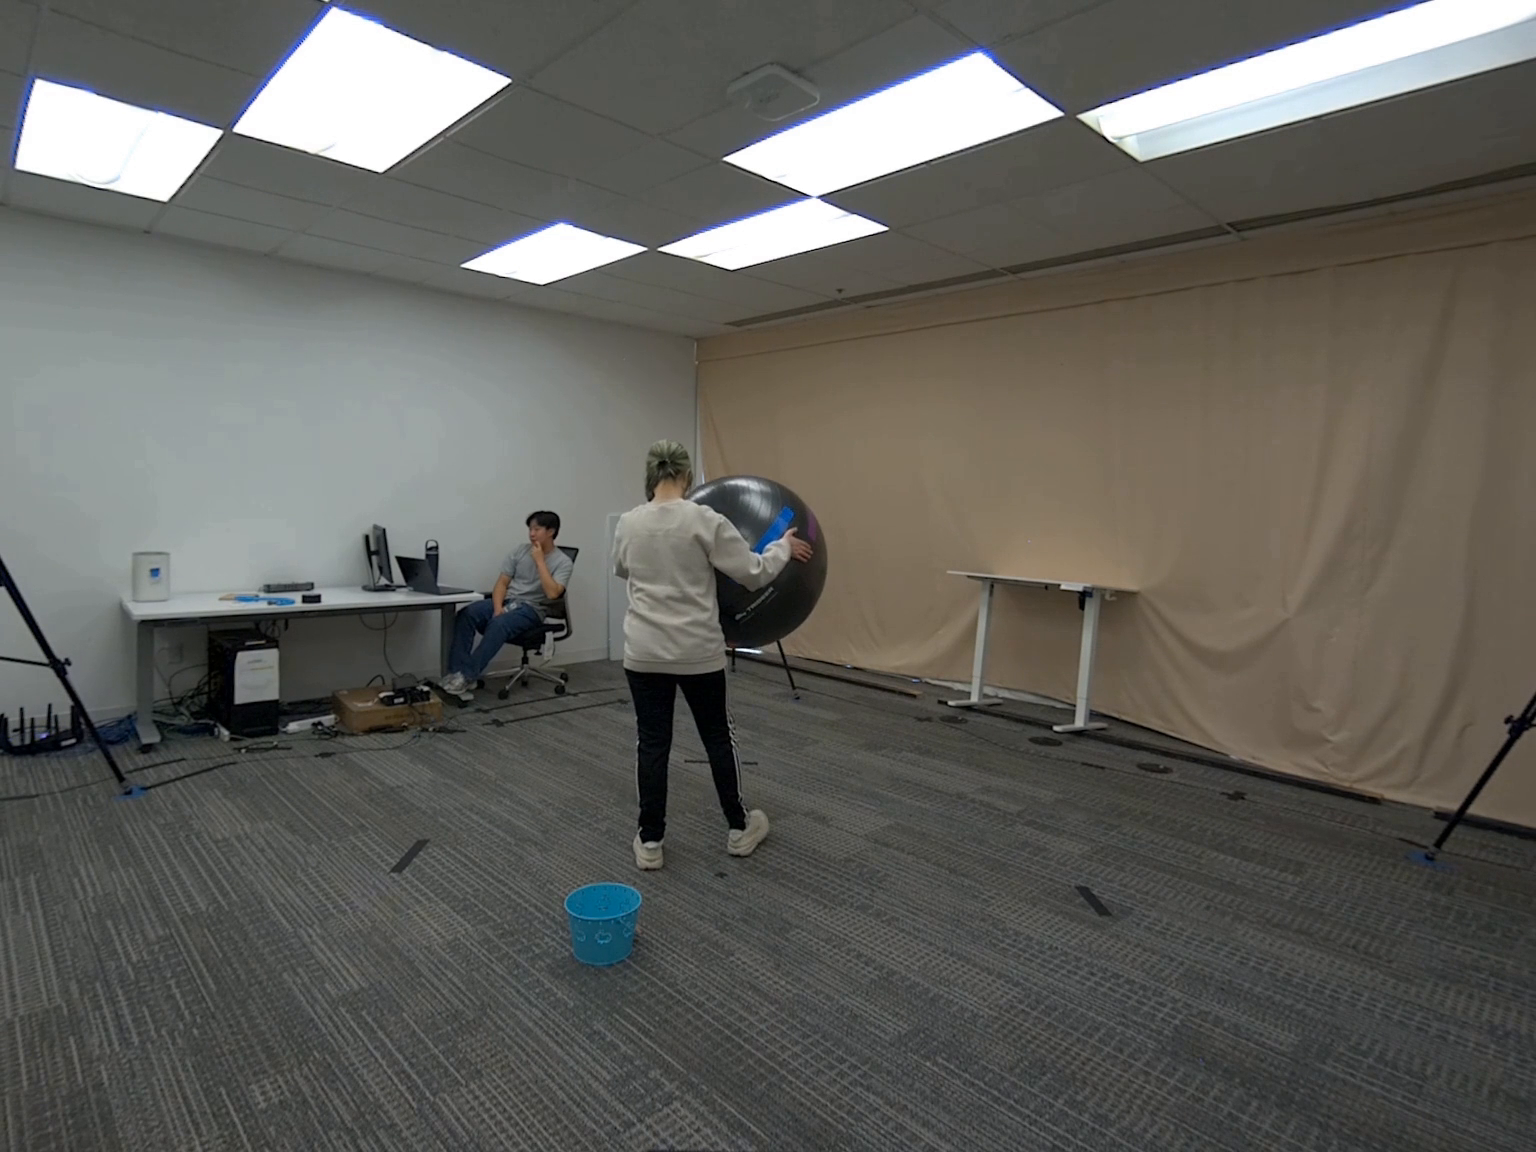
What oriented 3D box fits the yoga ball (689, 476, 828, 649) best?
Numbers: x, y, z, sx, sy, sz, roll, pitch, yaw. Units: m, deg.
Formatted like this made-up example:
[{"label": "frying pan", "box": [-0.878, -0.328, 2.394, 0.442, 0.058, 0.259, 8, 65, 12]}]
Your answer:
[{"label": "yoga ball", "box": [-0.121, -0.050, 3.700, 0.757, 0.756, 0.761, 1, 4, -1]}]
